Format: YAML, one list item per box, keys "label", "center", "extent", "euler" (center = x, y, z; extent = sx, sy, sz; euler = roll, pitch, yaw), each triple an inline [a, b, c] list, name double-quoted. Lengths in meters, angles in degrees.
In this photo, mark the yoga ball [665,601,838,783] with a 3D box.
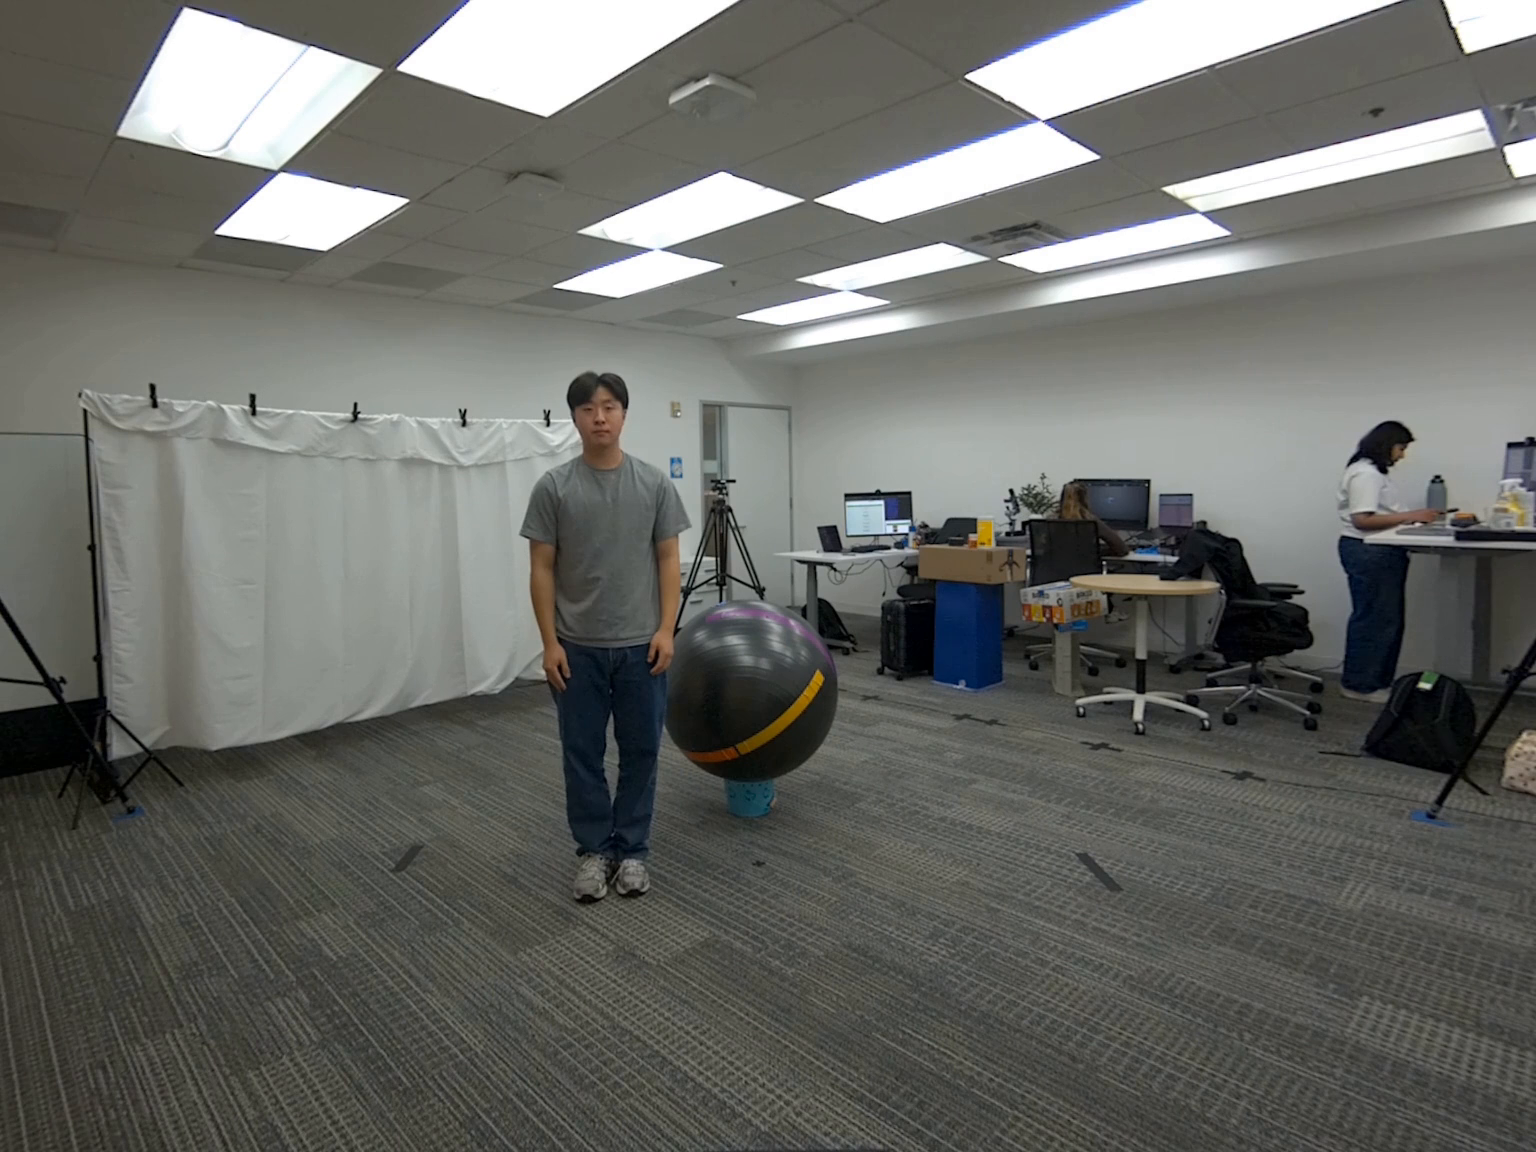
- label: "yoga ball"
  center: [-0.082, 0.484, 3.612]
  extent: [0.757, 0.755, 0.762]
  euler: [-1, 5, -2]
